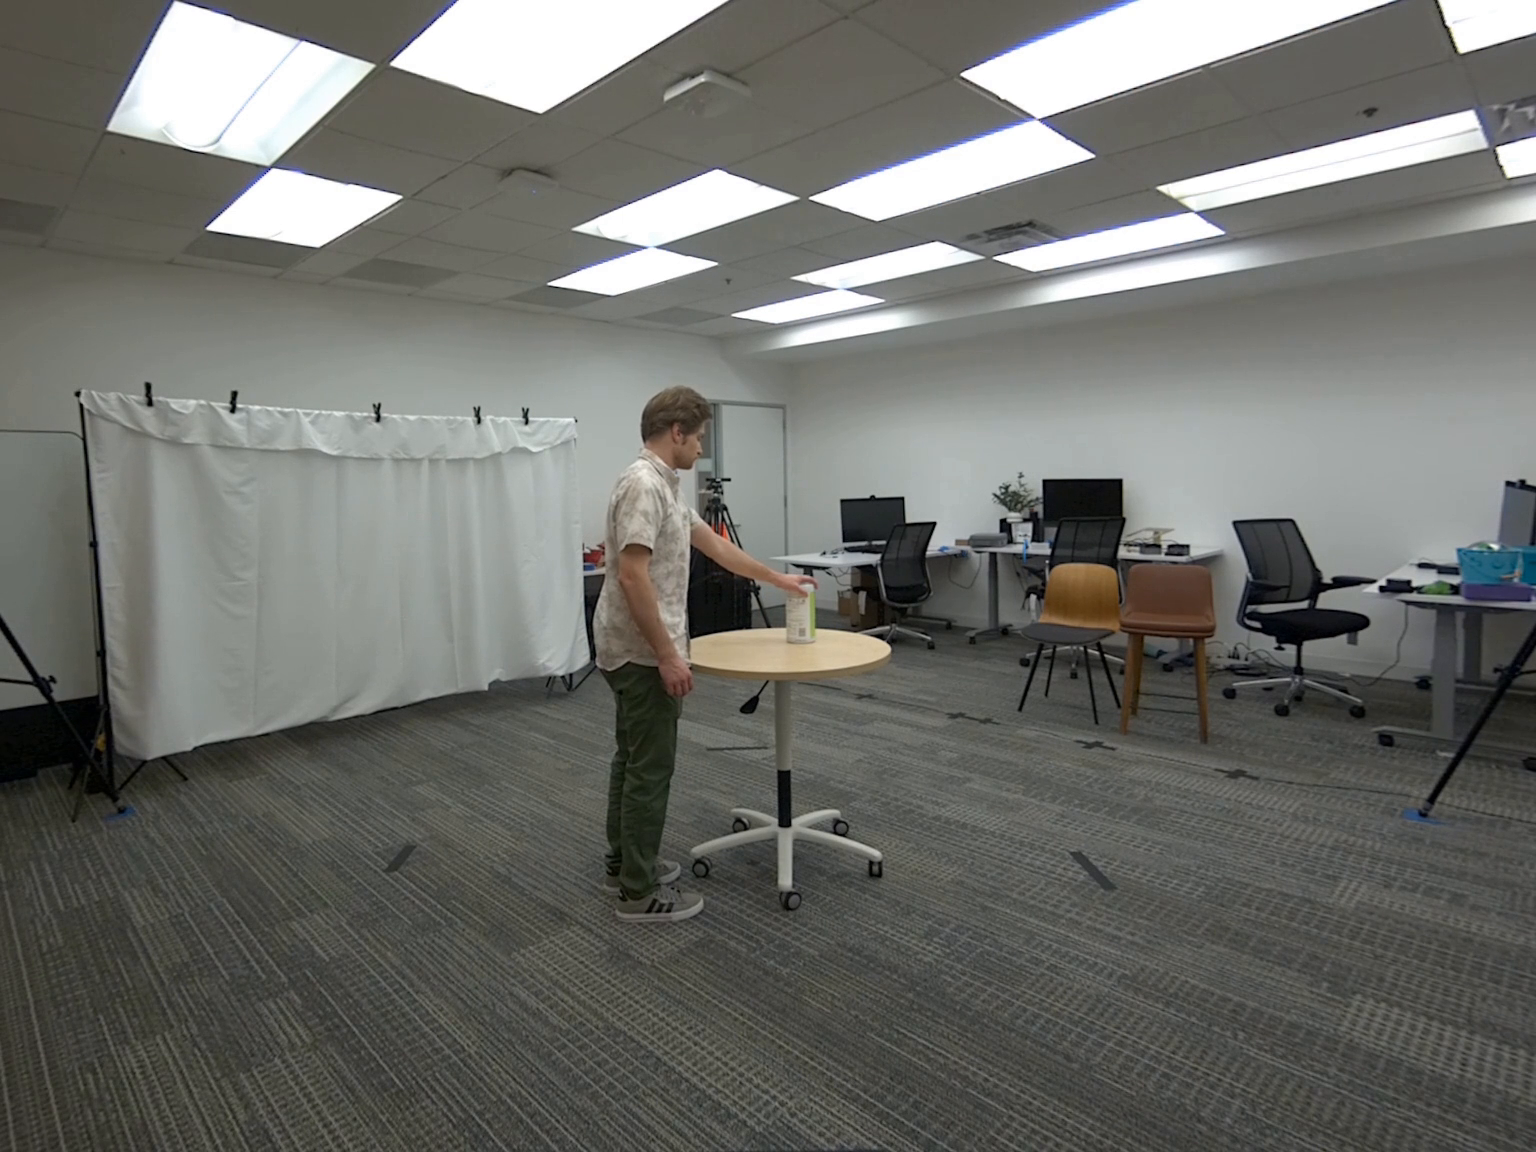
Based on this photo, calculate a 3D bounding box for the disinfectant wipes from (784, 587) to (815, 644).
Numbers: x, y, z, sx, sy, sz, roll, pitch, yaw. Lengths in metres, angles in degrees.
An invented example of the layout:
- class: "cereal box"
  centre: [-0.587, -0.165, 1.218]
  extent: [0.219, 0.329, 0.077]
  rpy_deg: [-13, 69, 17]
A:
- class: "disinfectant wipes"
  centre: [0.124, 0.136, 3.153]
  extent: [0.118, 0.217, 0.118]
  rpy_deg: [-1, 2, -2]
